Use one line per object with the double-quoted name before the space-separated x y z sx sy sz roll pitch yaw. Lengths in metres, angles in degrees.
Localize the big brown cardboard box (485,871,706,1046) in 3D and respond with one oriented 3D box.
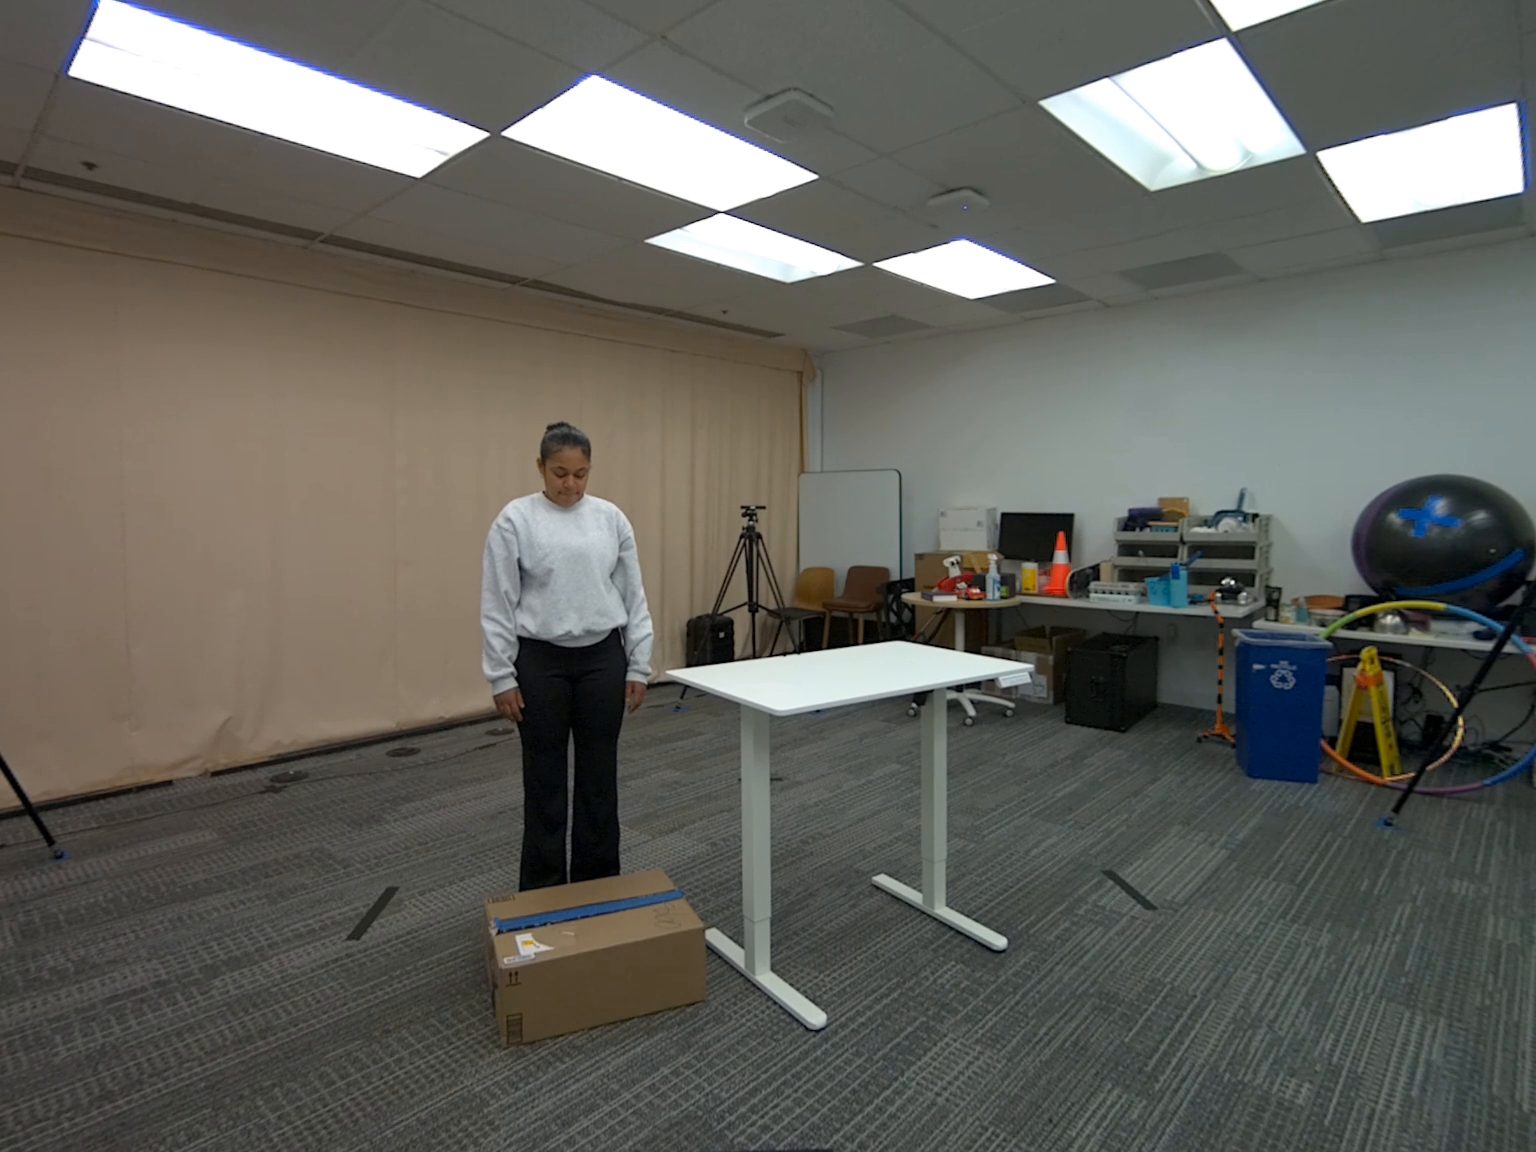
"big brown cardboard box" -0.515 1.082 2.442 0.576 0.233 0.428 -1 4 -23
